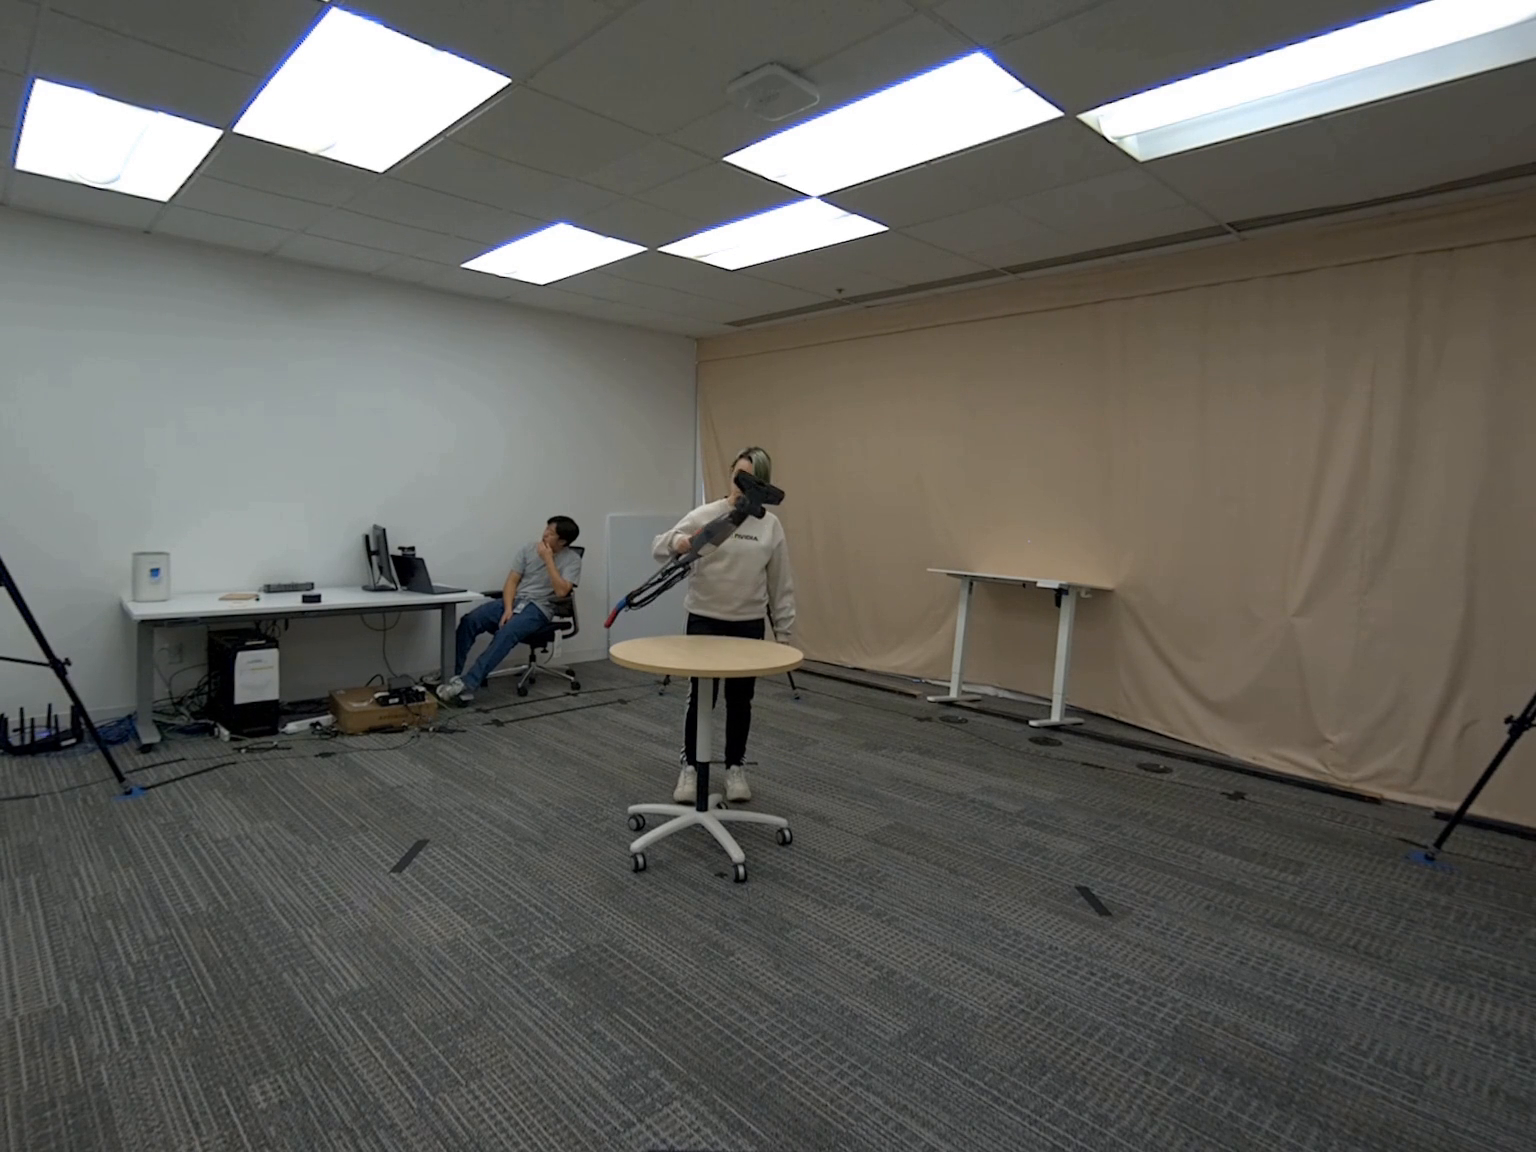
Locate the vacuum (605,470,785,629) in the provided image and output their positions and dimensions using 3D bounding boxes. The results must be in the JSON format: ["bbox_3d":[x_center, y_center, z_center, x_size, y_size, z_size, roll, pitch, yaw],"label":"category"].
[{"bbox_3d":[-0.397,-0.038,3.629,0.245,0.148,1.053,26,-51,-35],"label":"vacuum"}]
